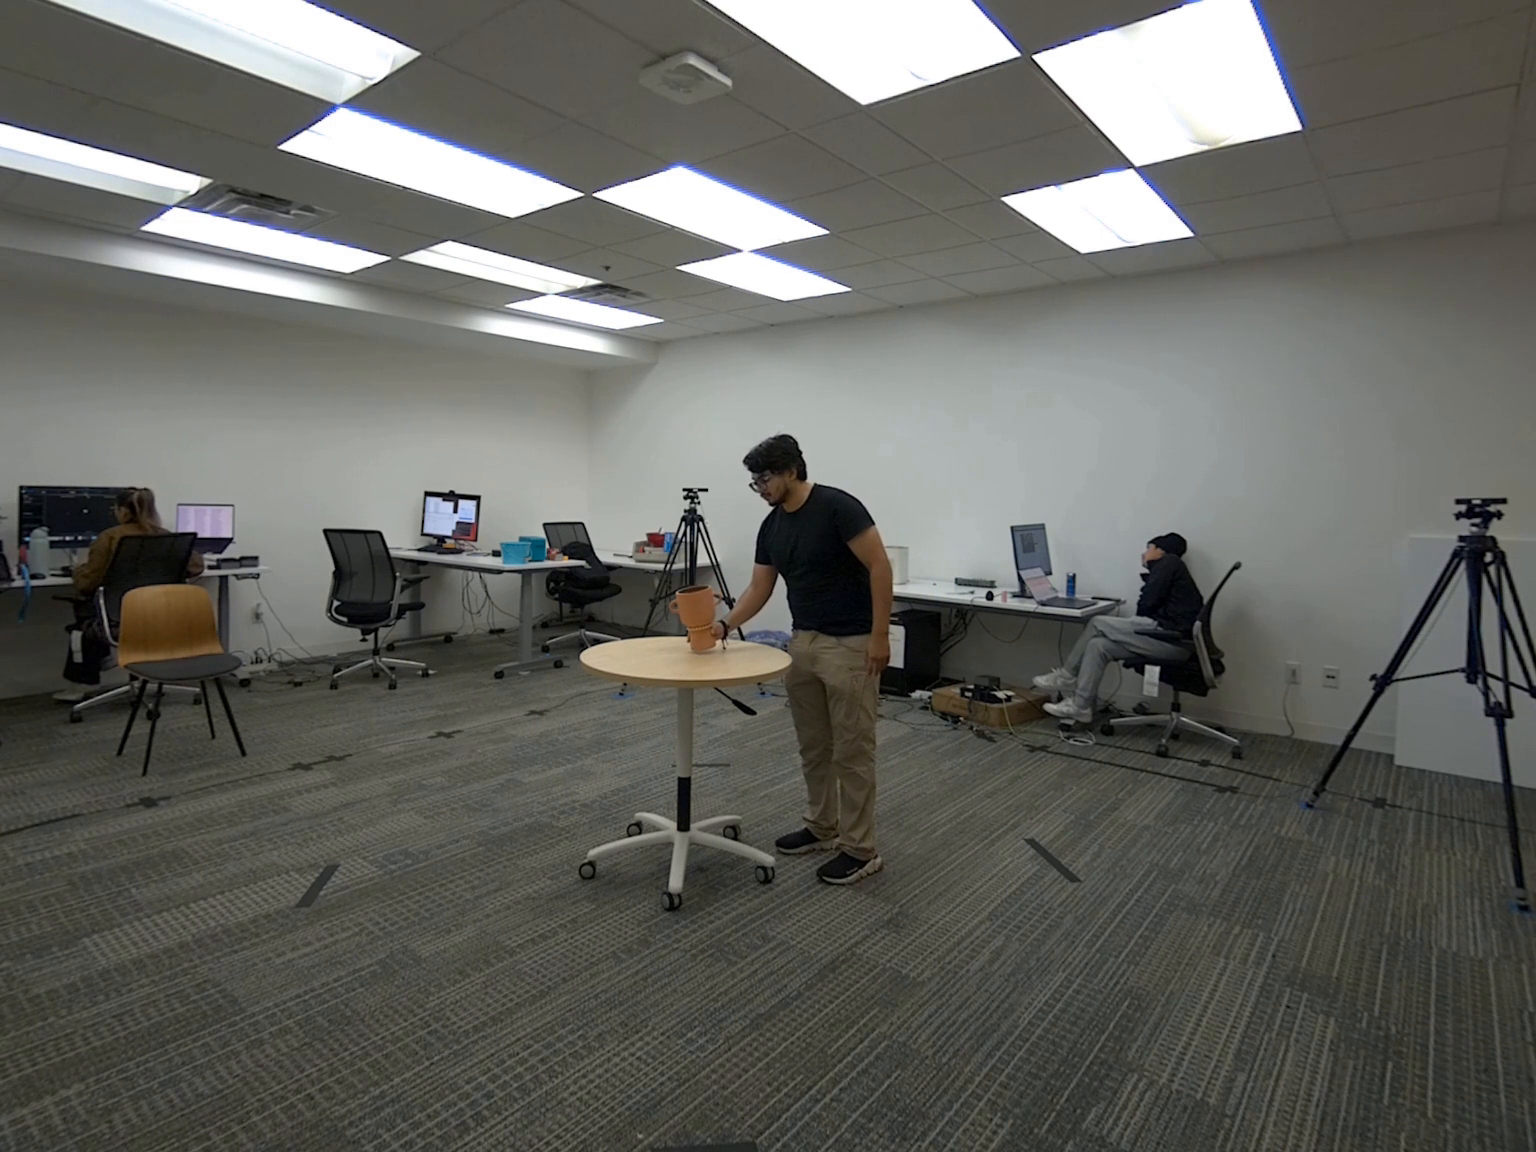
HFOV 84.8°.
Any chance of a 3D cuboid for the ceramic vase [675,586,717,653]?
[{"bbox_3d":[-0.278,0.150,3.154,0.163,0.218,0.132,-3,11,34],"label":"ceramic vase"}]
